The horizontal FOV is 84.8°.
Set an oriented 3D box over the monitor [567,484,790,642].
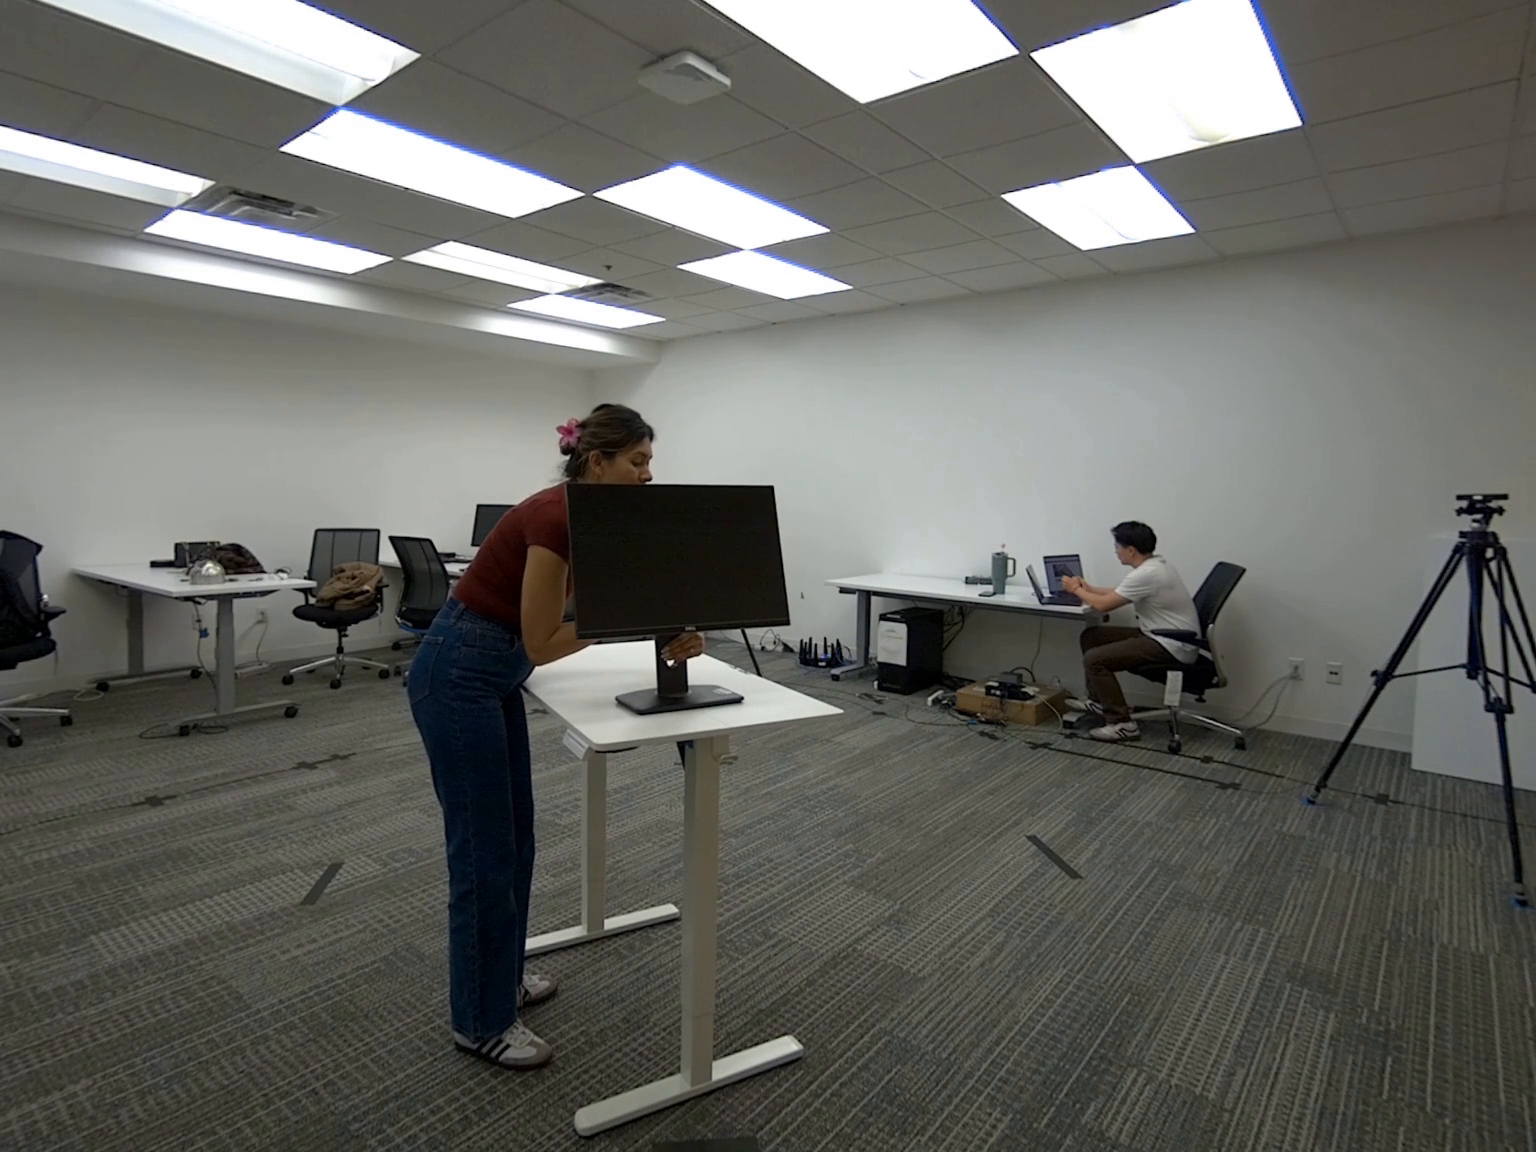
[{"bbox_3d":[-0.227,0.045,2.009,0.526,0.522,0.192,-2,1,-27],"label":"monitor"}]
